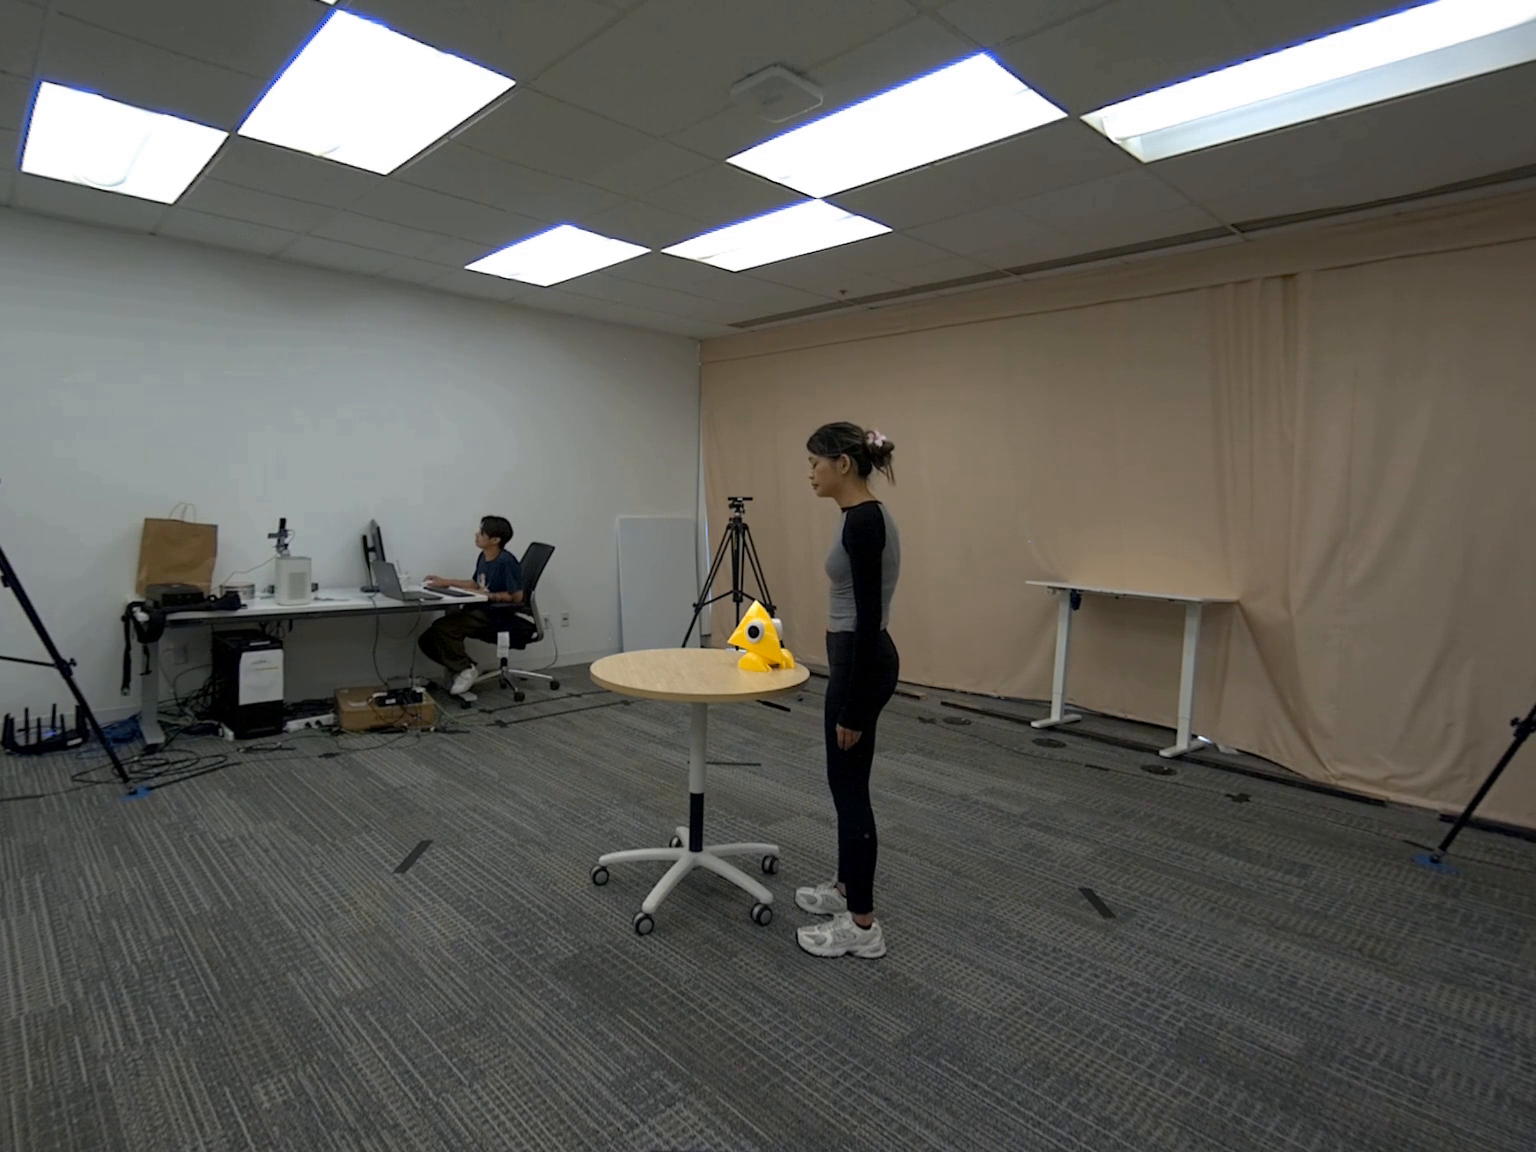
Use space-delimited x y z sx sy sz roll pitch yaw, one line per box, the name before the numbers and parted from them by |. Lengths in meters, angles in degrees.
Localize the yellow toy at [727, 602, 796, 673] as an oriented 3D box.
yellow toy | -0.014 0.212 3.027 0.200 0.230 0.198 -1 6 -38
